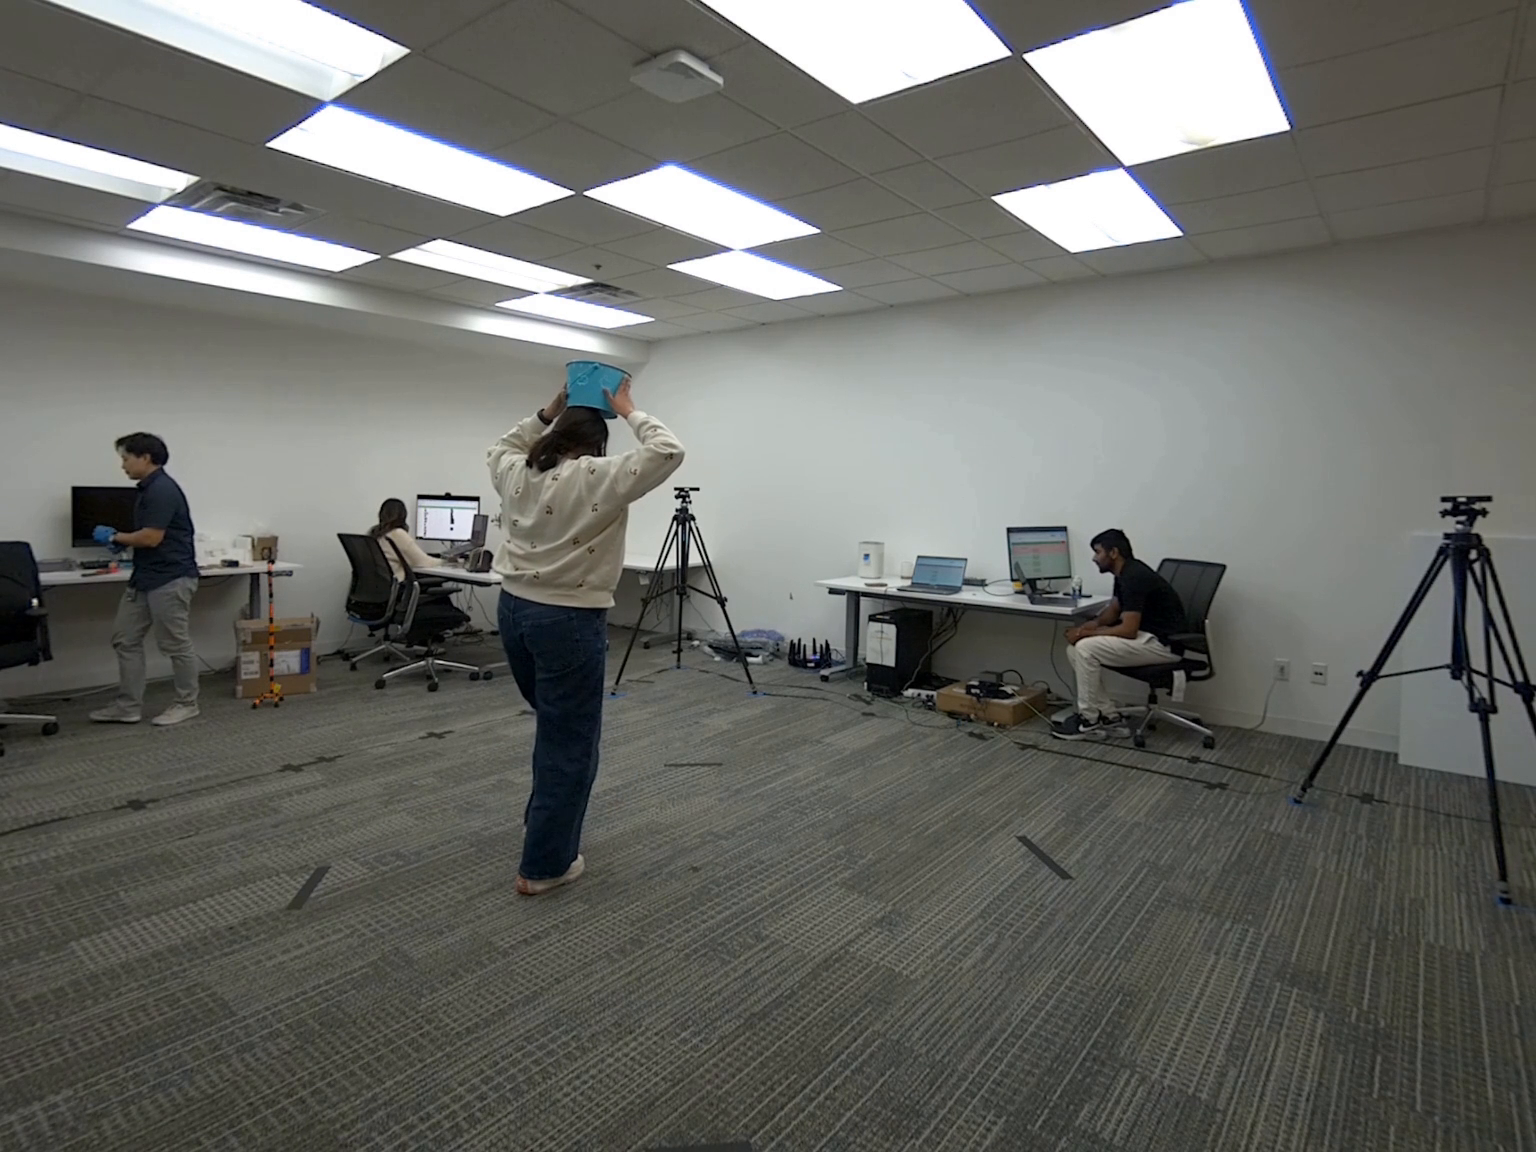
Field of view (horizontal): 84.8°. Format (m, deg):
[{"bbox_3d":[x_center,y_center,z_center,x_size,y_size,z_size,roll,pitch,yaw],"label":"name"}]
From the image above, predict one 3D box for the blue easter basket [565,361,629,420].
[{"bbox_3d":[-0.626,-0.654,3.002,0.243,0.156,0.243,8,-4,-1],"label":"blue easter basket"}]
